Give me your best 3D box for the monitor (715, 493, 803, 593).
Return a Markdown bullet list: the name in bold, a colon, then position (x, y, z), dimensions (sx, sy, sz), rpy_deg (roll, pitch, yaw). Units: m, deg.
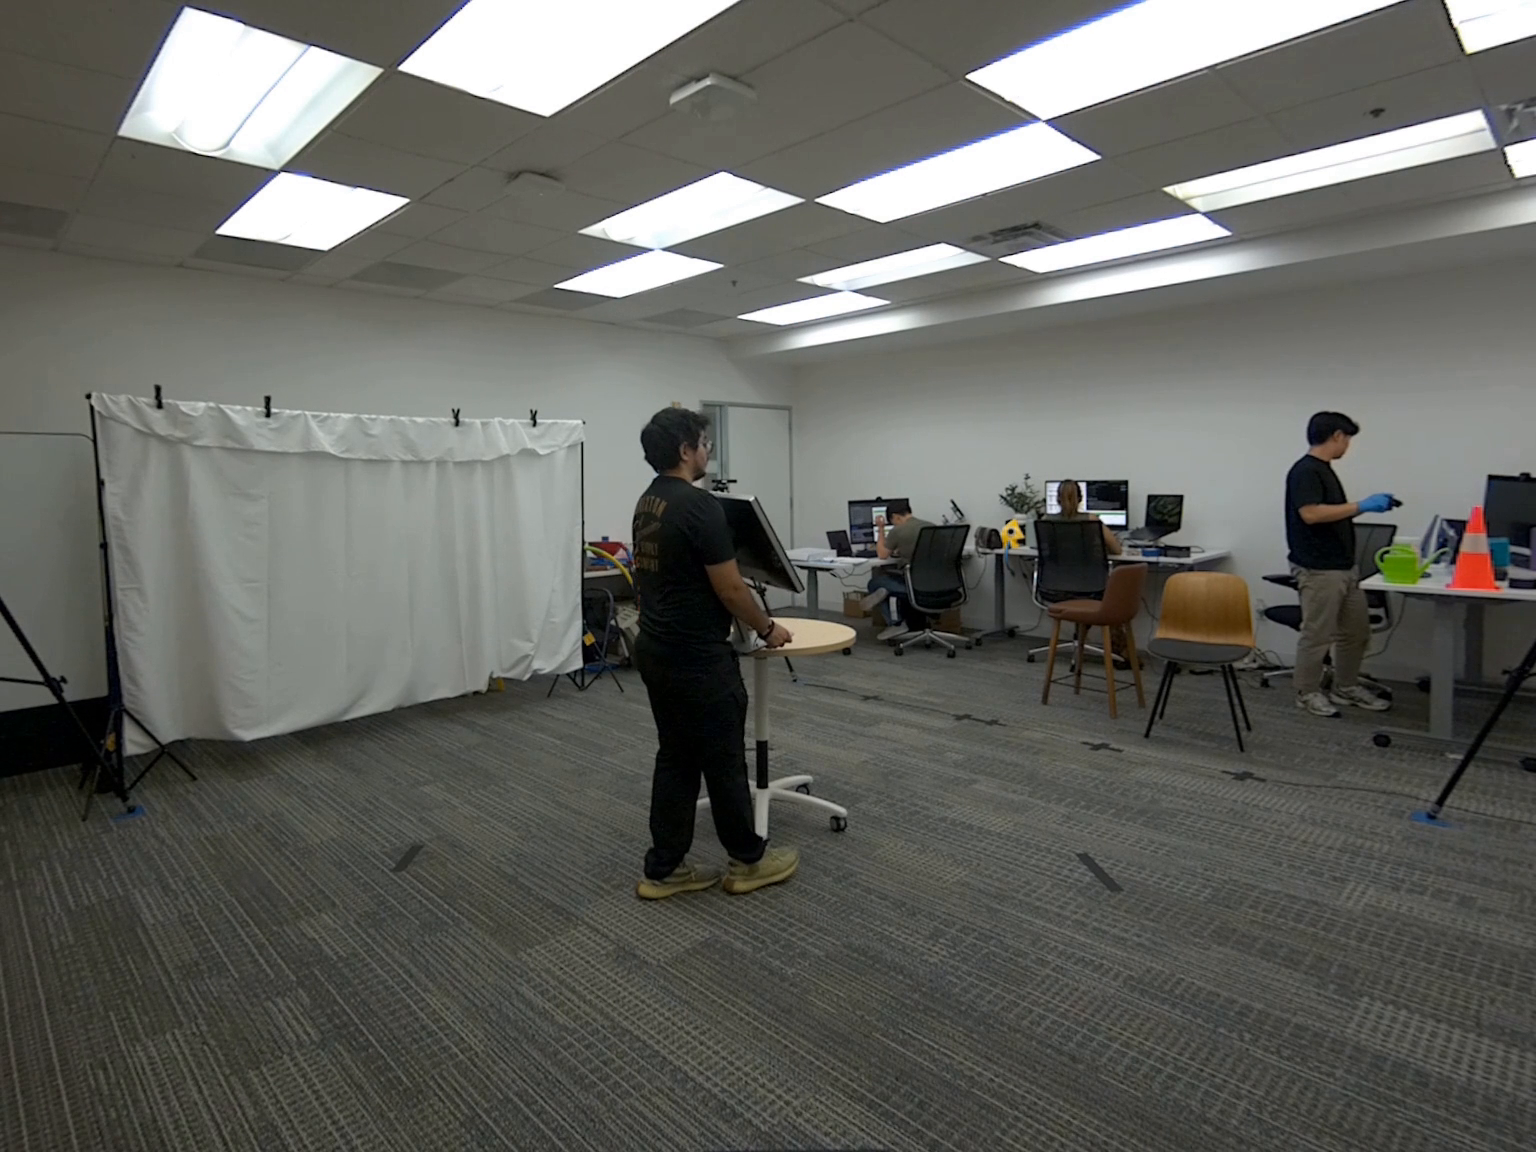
- **monitor**: position (-0.122, -0.019, 2.981), dimensions (0.208, 0.543, 0.581), rpy_deg (-29, 19, -22)
